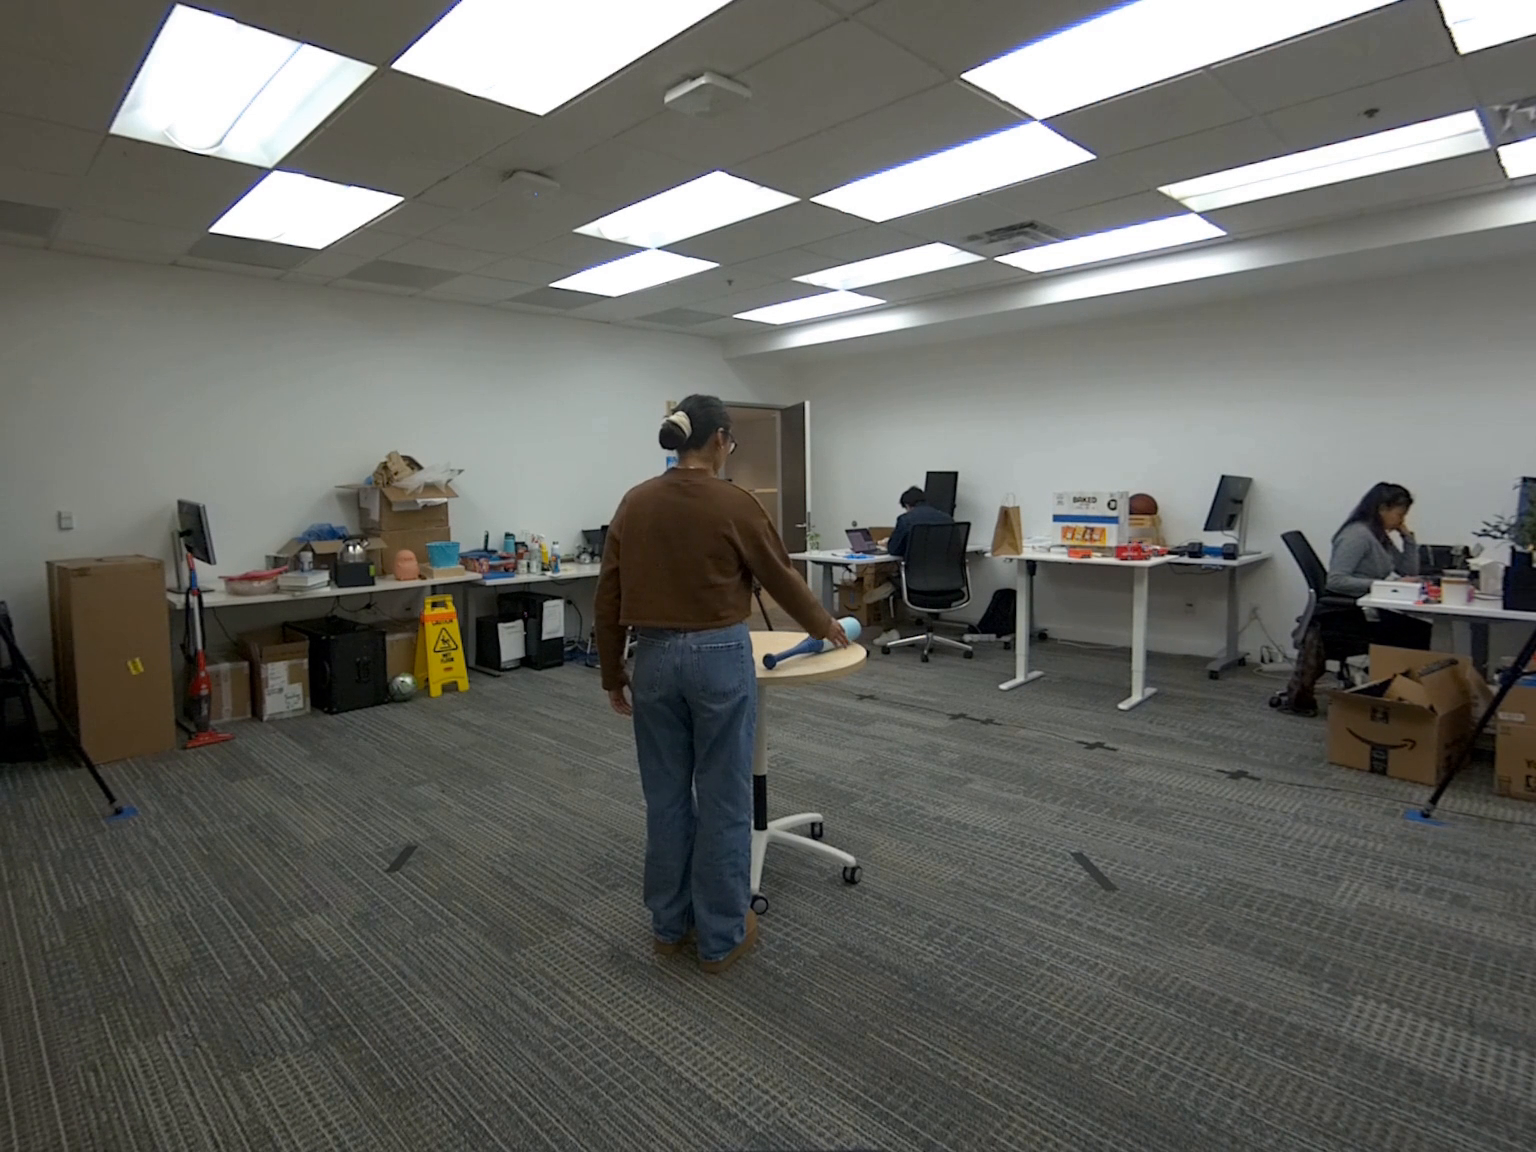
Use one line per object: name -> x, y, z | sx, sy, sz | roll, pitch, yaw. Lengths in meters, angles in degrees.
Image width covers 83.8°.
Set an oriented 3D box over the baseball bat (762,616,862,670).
baseball bat -> 0.163, 0.238, 2.951 | 0.091, 0.088, 0.532 | 2, 11, 35
